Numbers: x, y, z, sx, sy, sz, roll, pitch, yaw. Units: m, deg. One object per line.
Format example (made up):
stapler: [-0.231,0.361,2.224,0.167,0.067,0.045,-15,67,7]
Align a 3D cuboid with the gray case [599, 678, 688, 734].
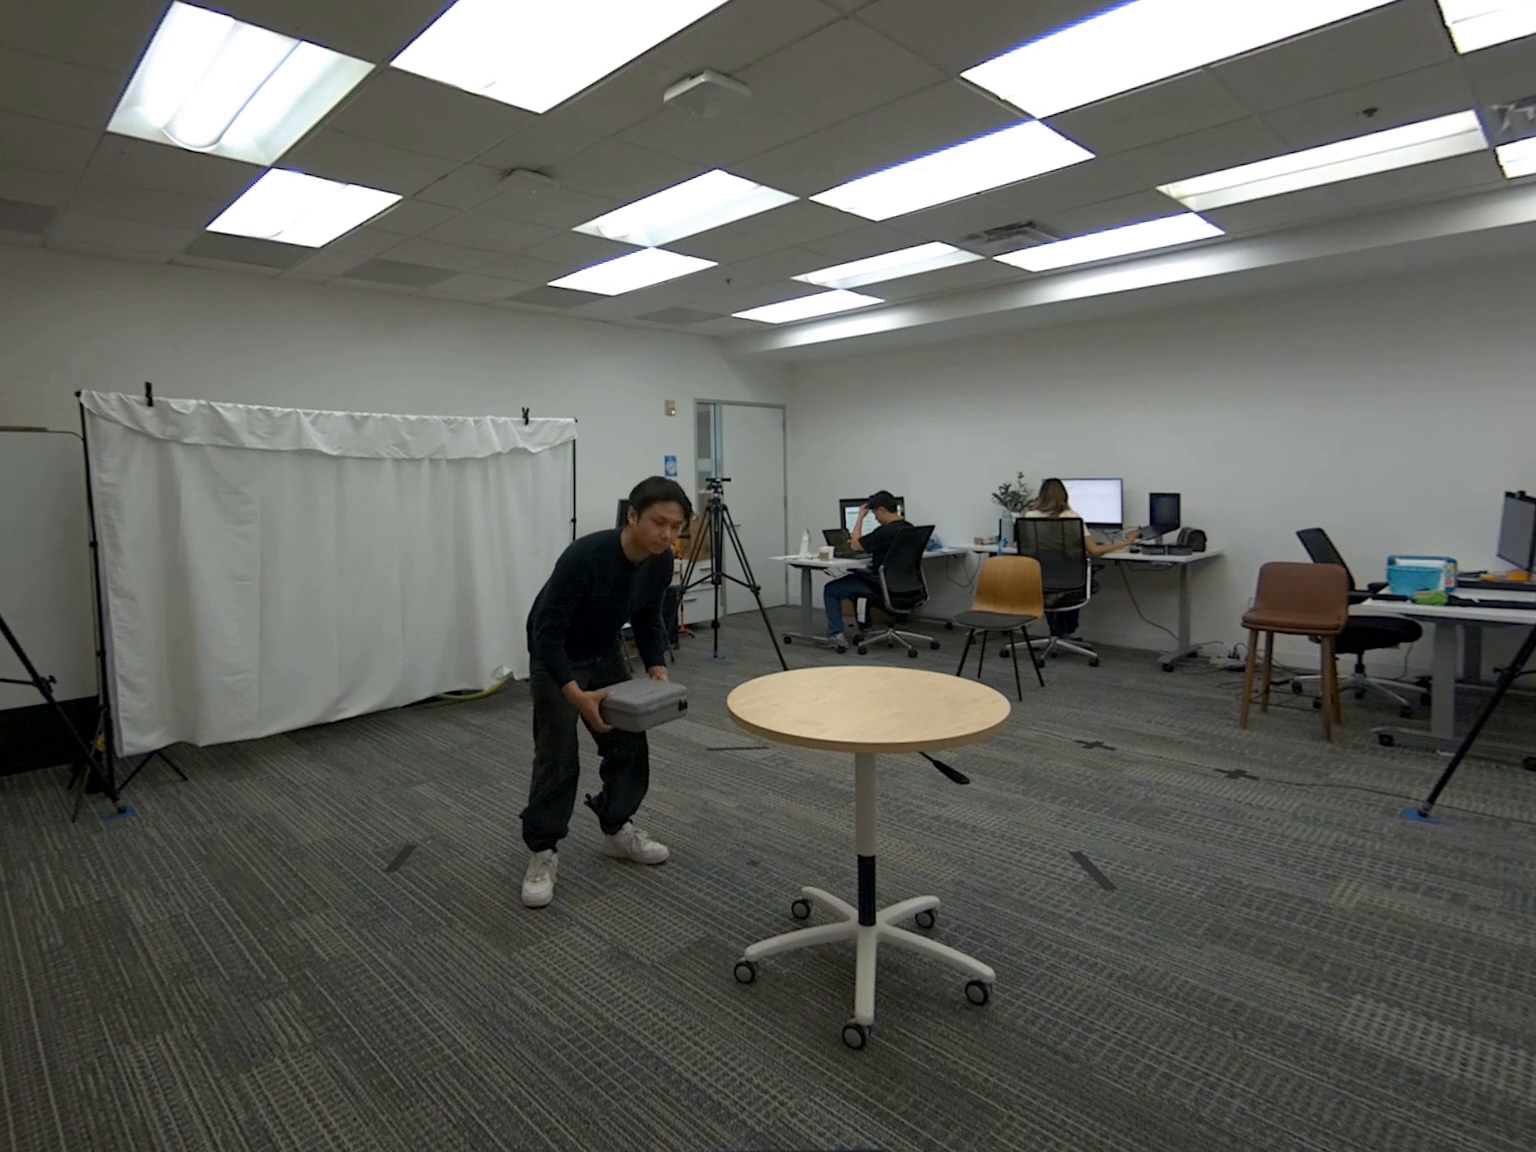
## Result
gray case: [-0.435,0.423,2.860,0.269,0.103,0.251,5,12,39]
